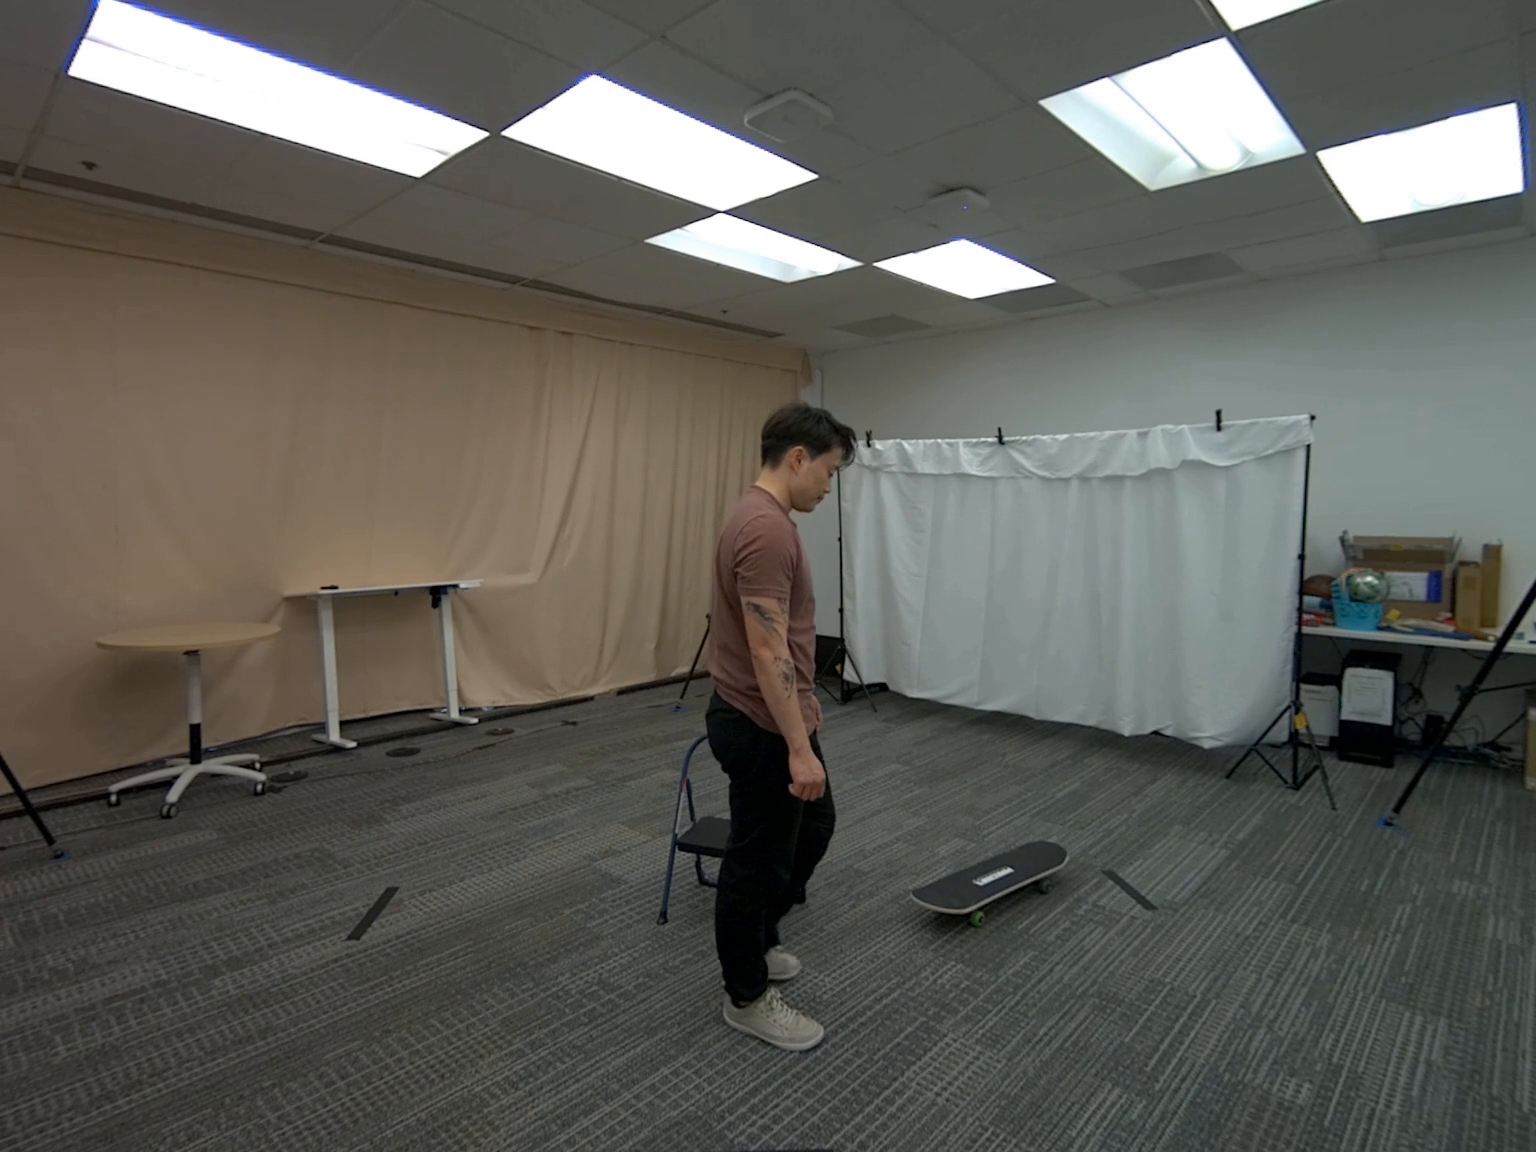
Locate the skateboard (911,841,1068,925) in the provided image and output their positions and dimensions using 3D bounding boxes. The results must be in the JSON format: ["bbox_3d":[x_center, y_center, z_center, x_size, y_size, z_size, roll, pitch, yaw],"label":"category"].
[{"bbox_3d":[0.797,1.093,2.950,0.762,0.110,0.200,-3,6,-38],"label":"skateboard"}]
